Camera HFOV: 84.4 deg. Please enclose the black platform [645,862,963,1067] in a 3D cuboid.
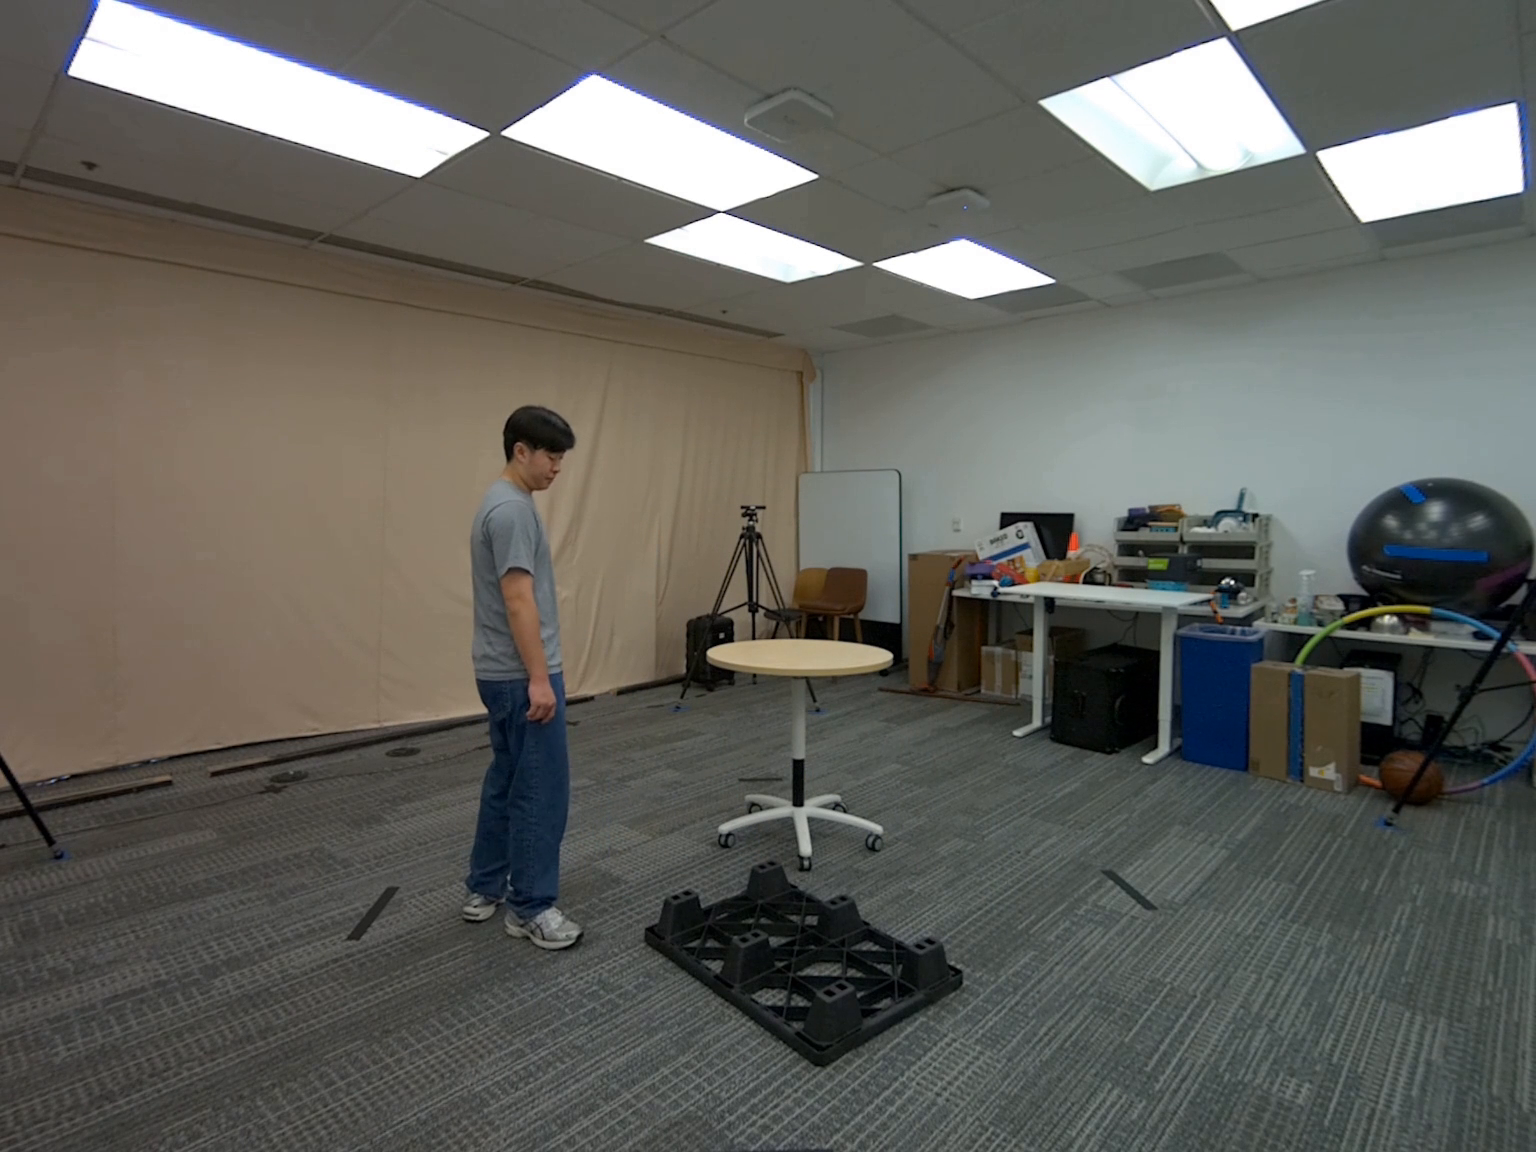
[{"bbox_3d":[0.096,1.113,2.568,0.587,0.143,0.832,-5,7,-40],"label":"black platform"}]
